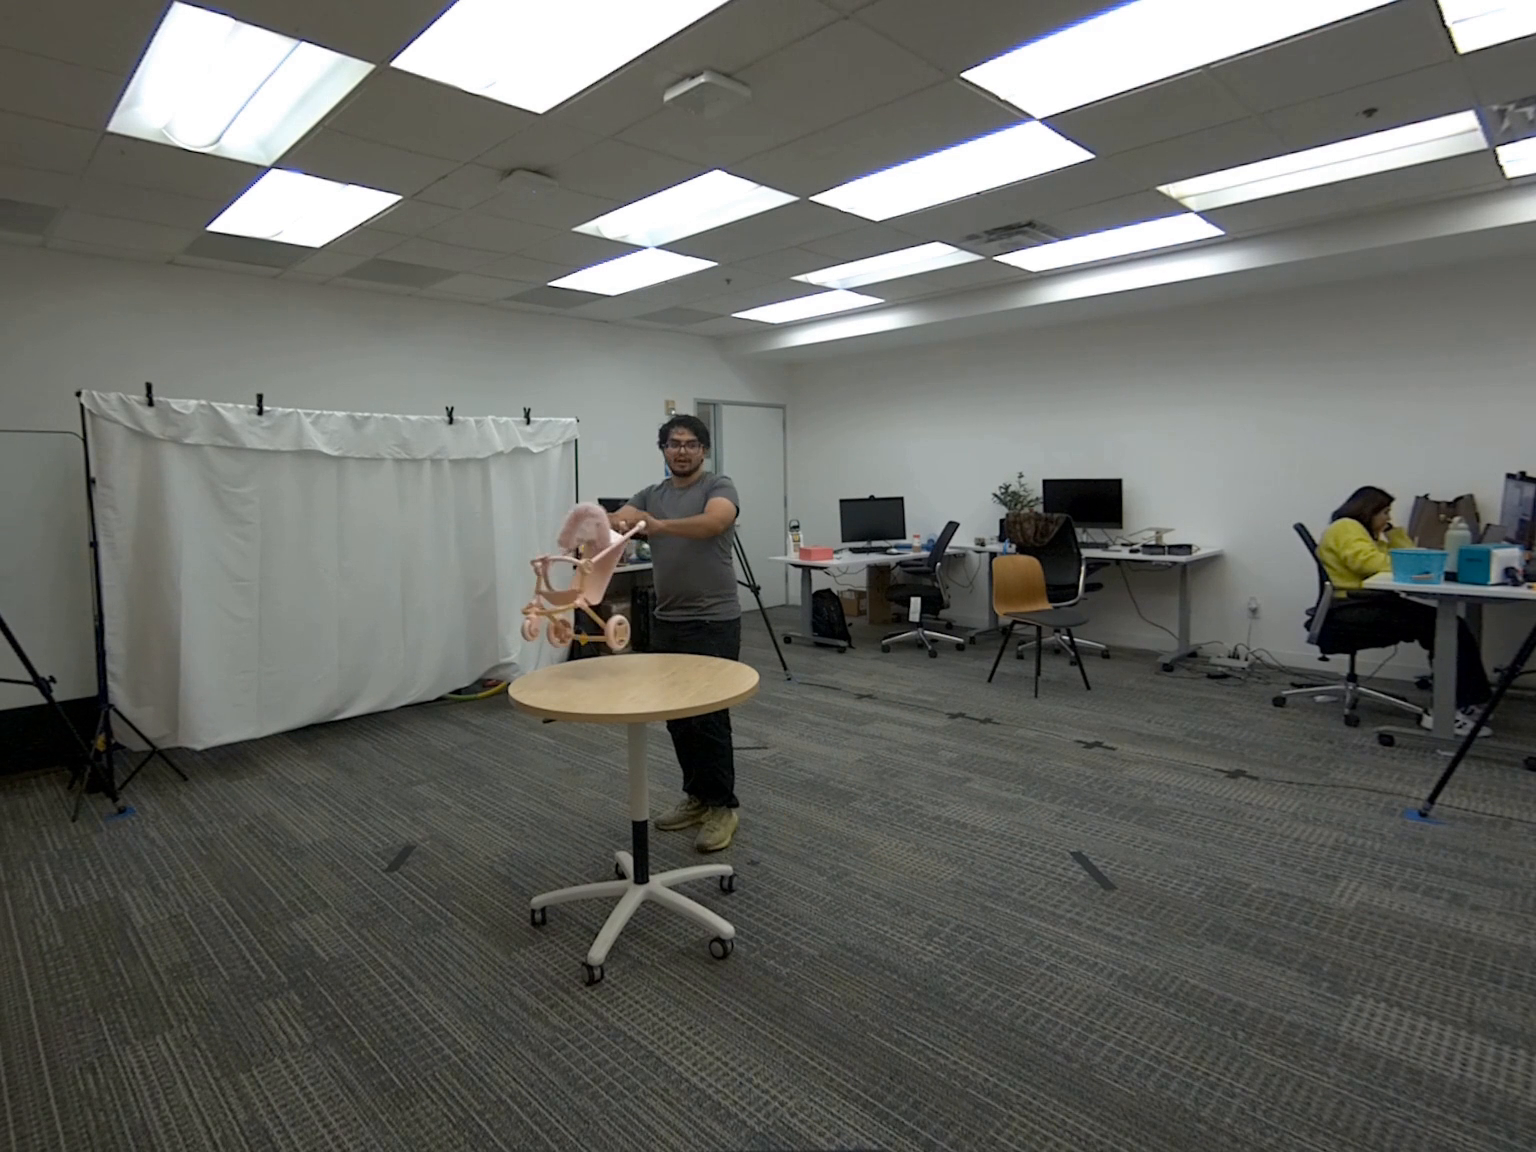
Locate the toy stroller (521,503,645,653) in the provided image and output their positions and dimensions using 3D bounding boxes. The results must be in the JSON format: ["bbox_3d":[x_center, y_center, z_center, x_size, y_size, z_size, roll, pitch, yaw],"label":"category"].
[{"bbox_3d":[-0.617,0.003,2.756,0.288,0.542,0.328,-5,-25,35],"label":"toy stroller"}]
